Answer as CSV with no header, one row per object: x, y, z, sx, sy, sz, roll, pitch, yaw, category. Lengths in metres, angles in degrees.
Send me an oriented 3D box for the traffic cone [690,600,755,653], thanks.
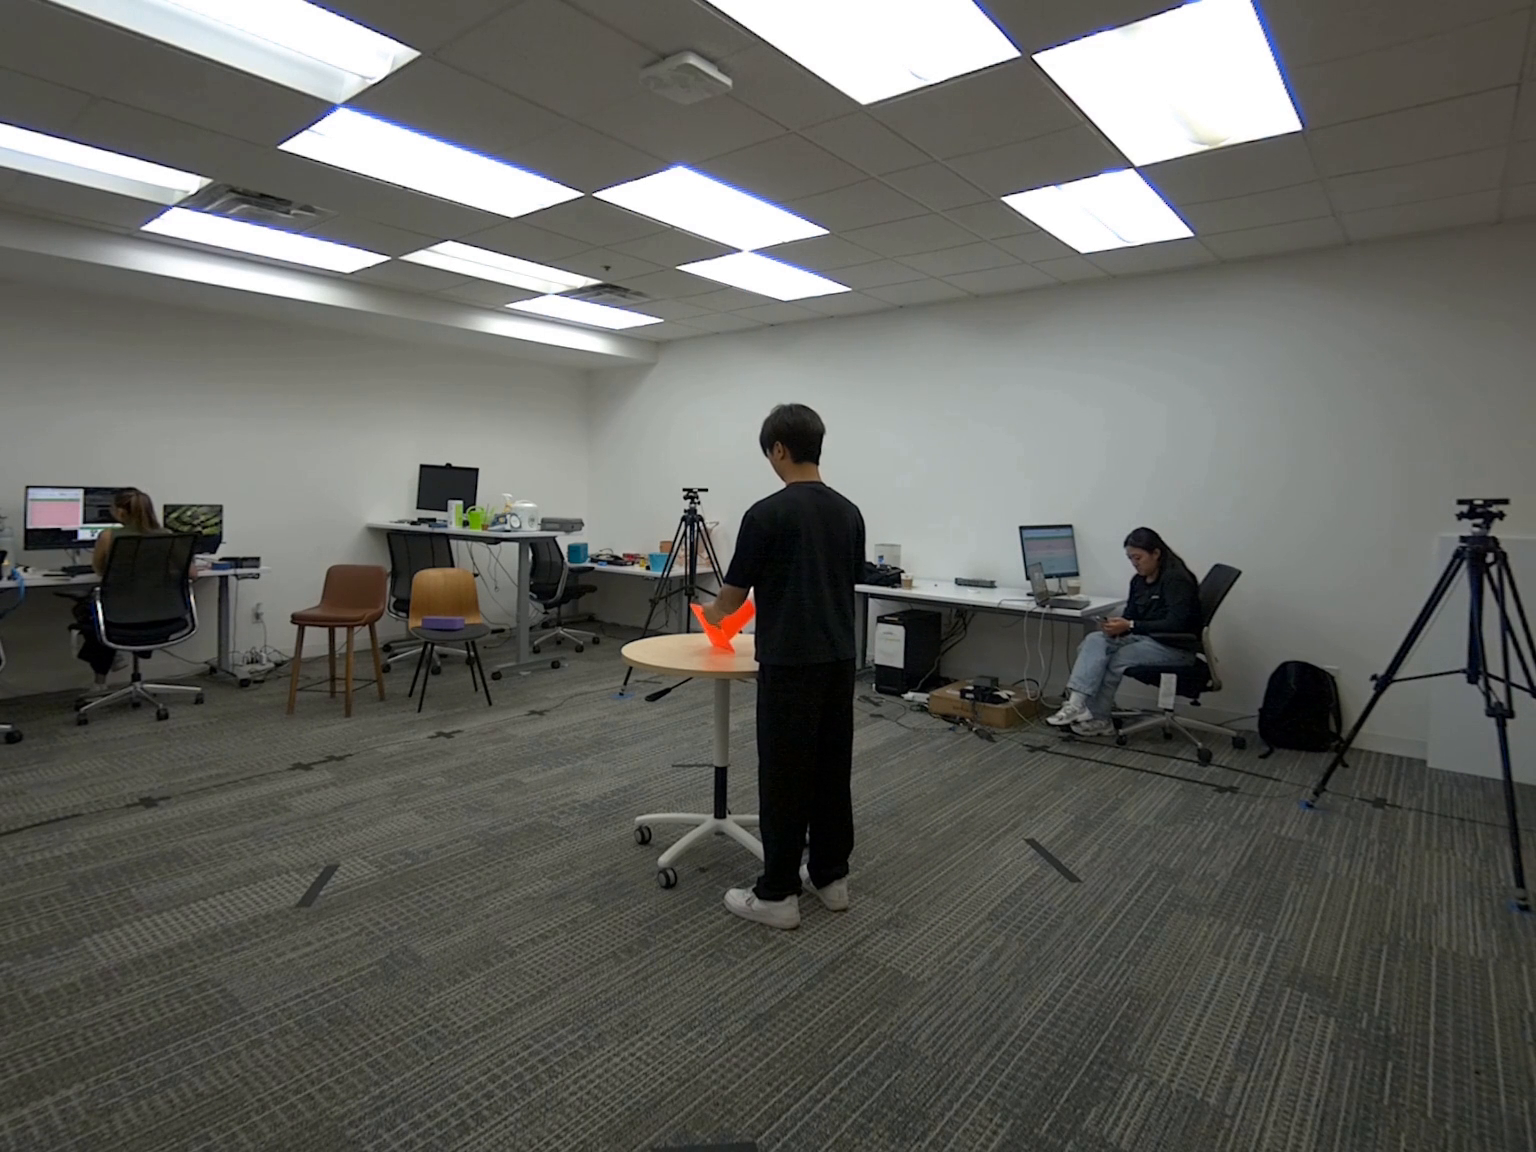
-0.081,0.095,3.248,0.381,0.200,0.210,-35,16,-18,traffic cone
